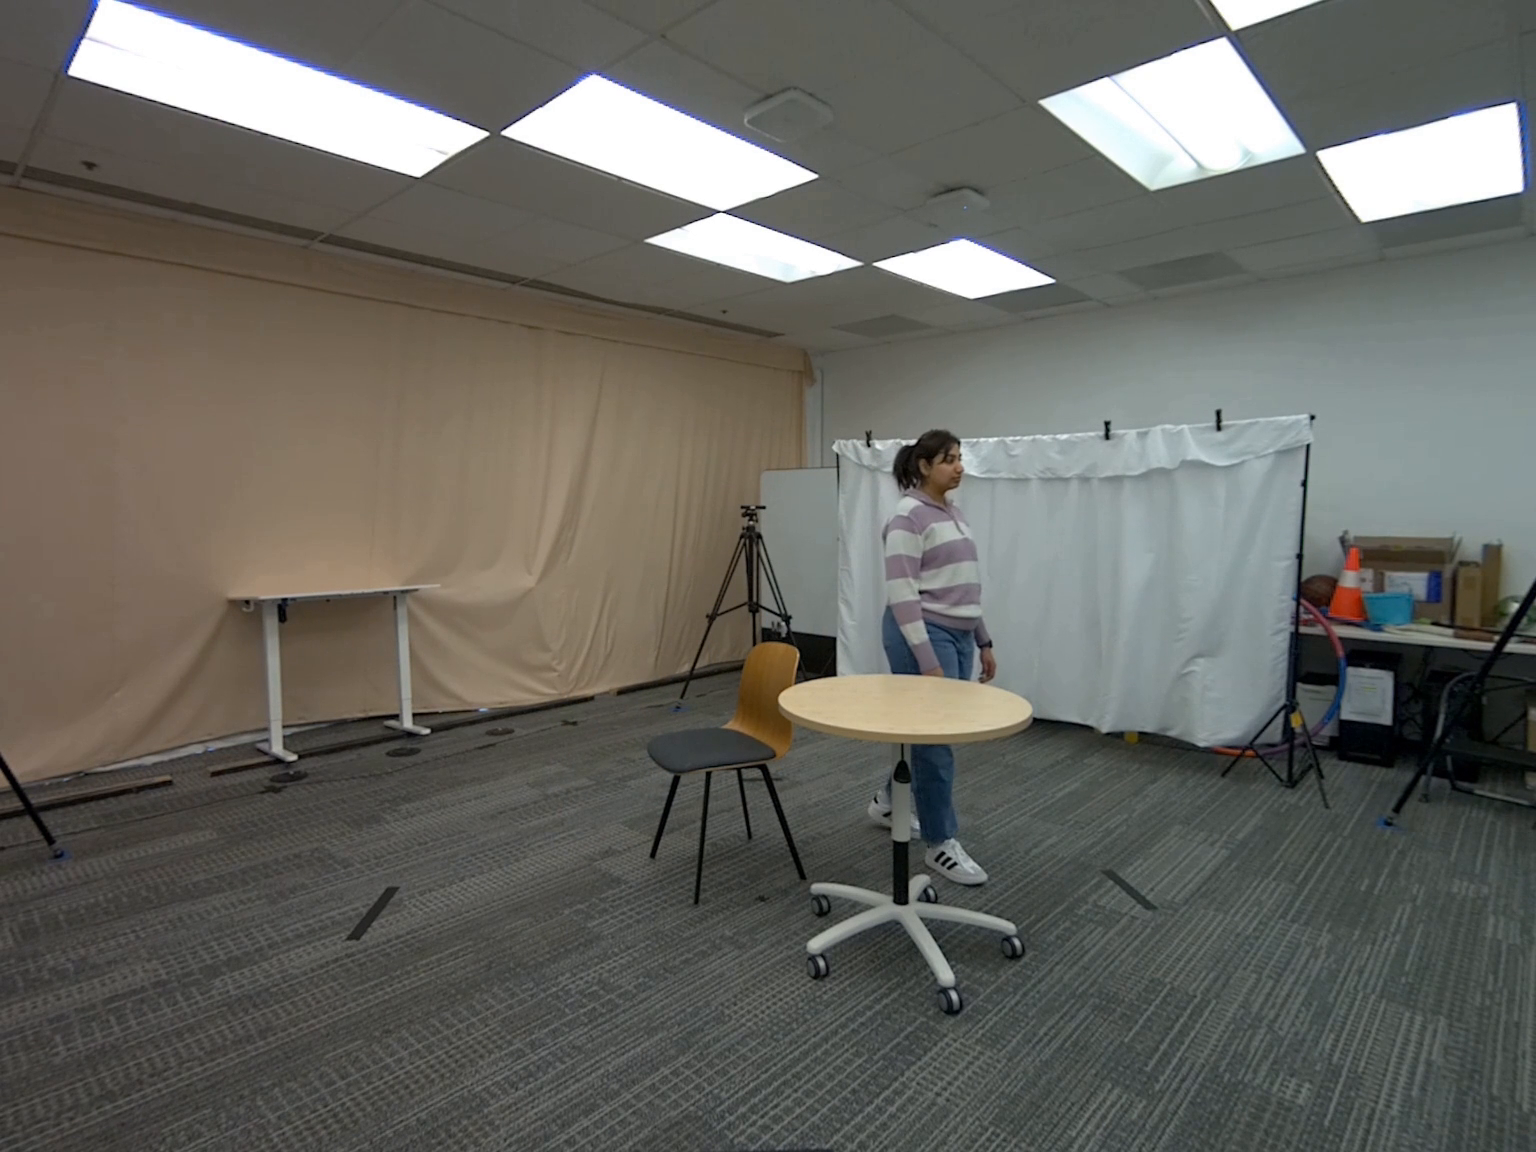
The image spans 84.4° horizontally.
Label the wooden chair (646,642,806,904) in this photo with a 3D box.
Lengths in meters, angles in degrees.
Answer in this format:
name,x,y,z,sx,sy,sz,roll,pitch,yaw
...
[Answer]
name,x,y,z,sx,sy,sz,roll,pitch,yaw
wooden chair,-0.170,0.701,3.203,0.509,0.877,0.491,3,2,-27
